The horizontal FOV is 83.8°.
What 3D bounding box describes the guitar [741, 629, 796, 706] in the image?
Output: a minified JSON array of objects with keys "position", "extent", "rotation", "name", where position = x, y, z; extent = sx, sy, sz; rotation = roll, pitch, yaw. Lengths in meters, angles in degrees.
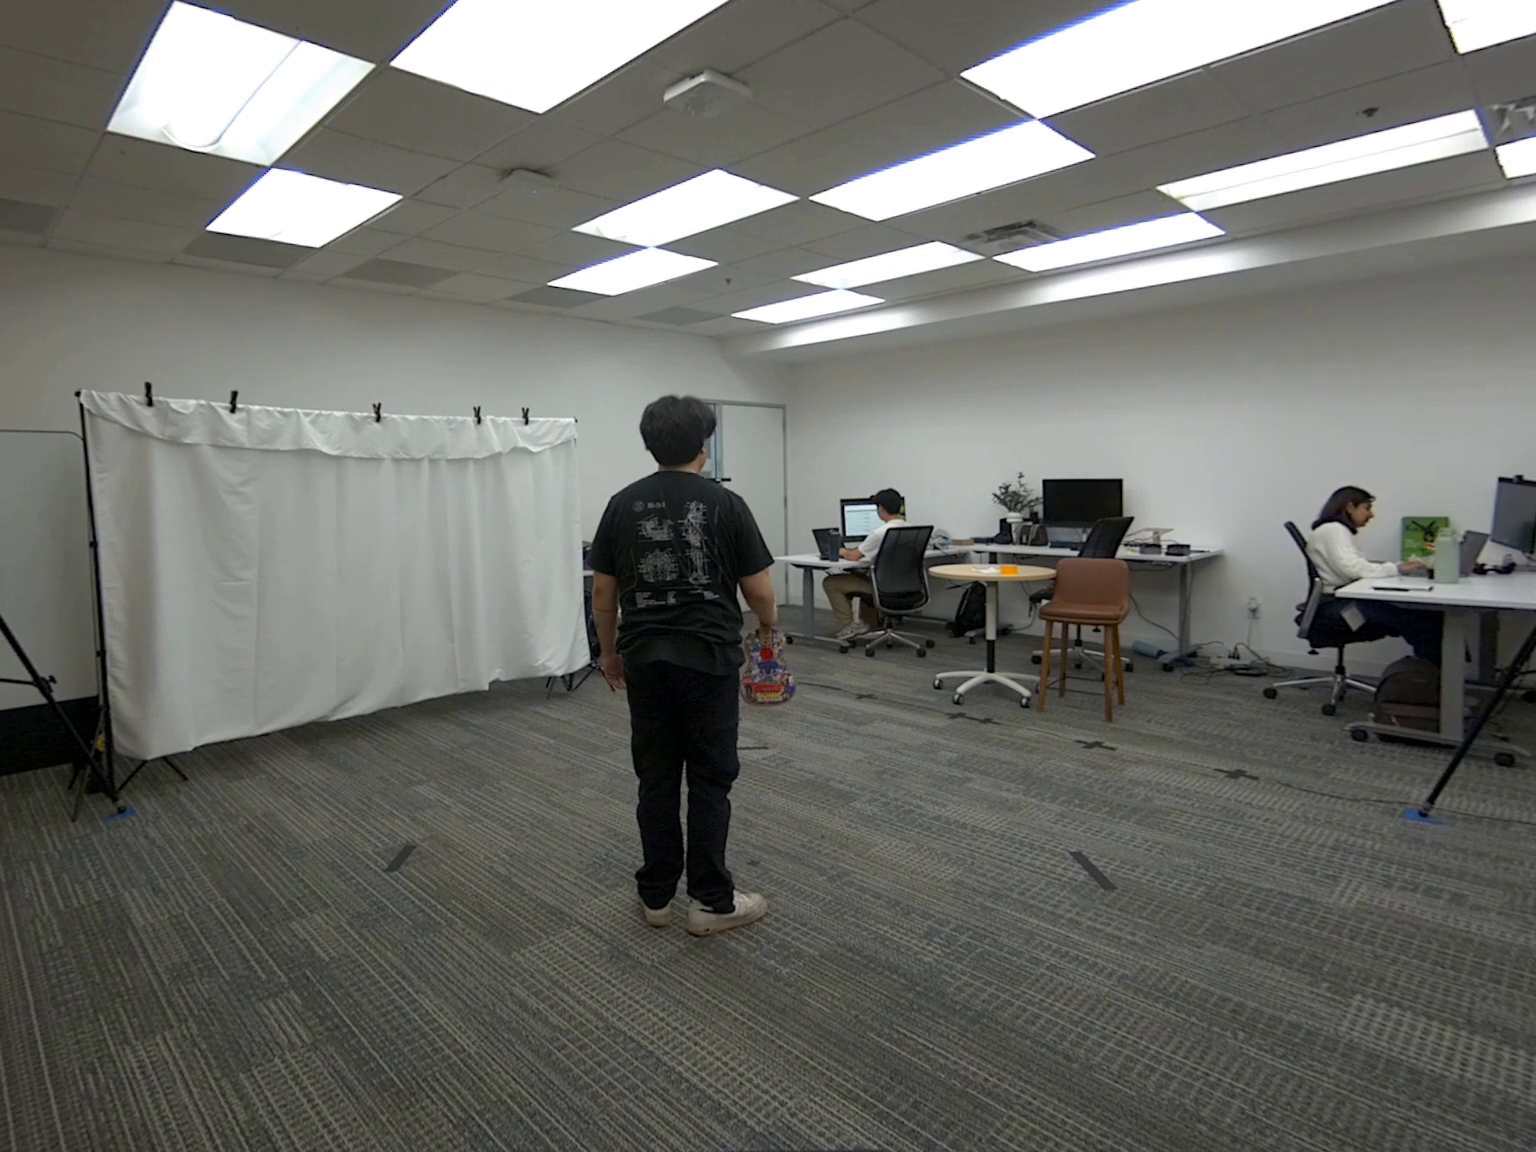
[{"position":[0.021,0.217,3.020],"extent":[0.193,0.503,0.070],"rotation":[5,-14,0],"name":"guitar"}]
